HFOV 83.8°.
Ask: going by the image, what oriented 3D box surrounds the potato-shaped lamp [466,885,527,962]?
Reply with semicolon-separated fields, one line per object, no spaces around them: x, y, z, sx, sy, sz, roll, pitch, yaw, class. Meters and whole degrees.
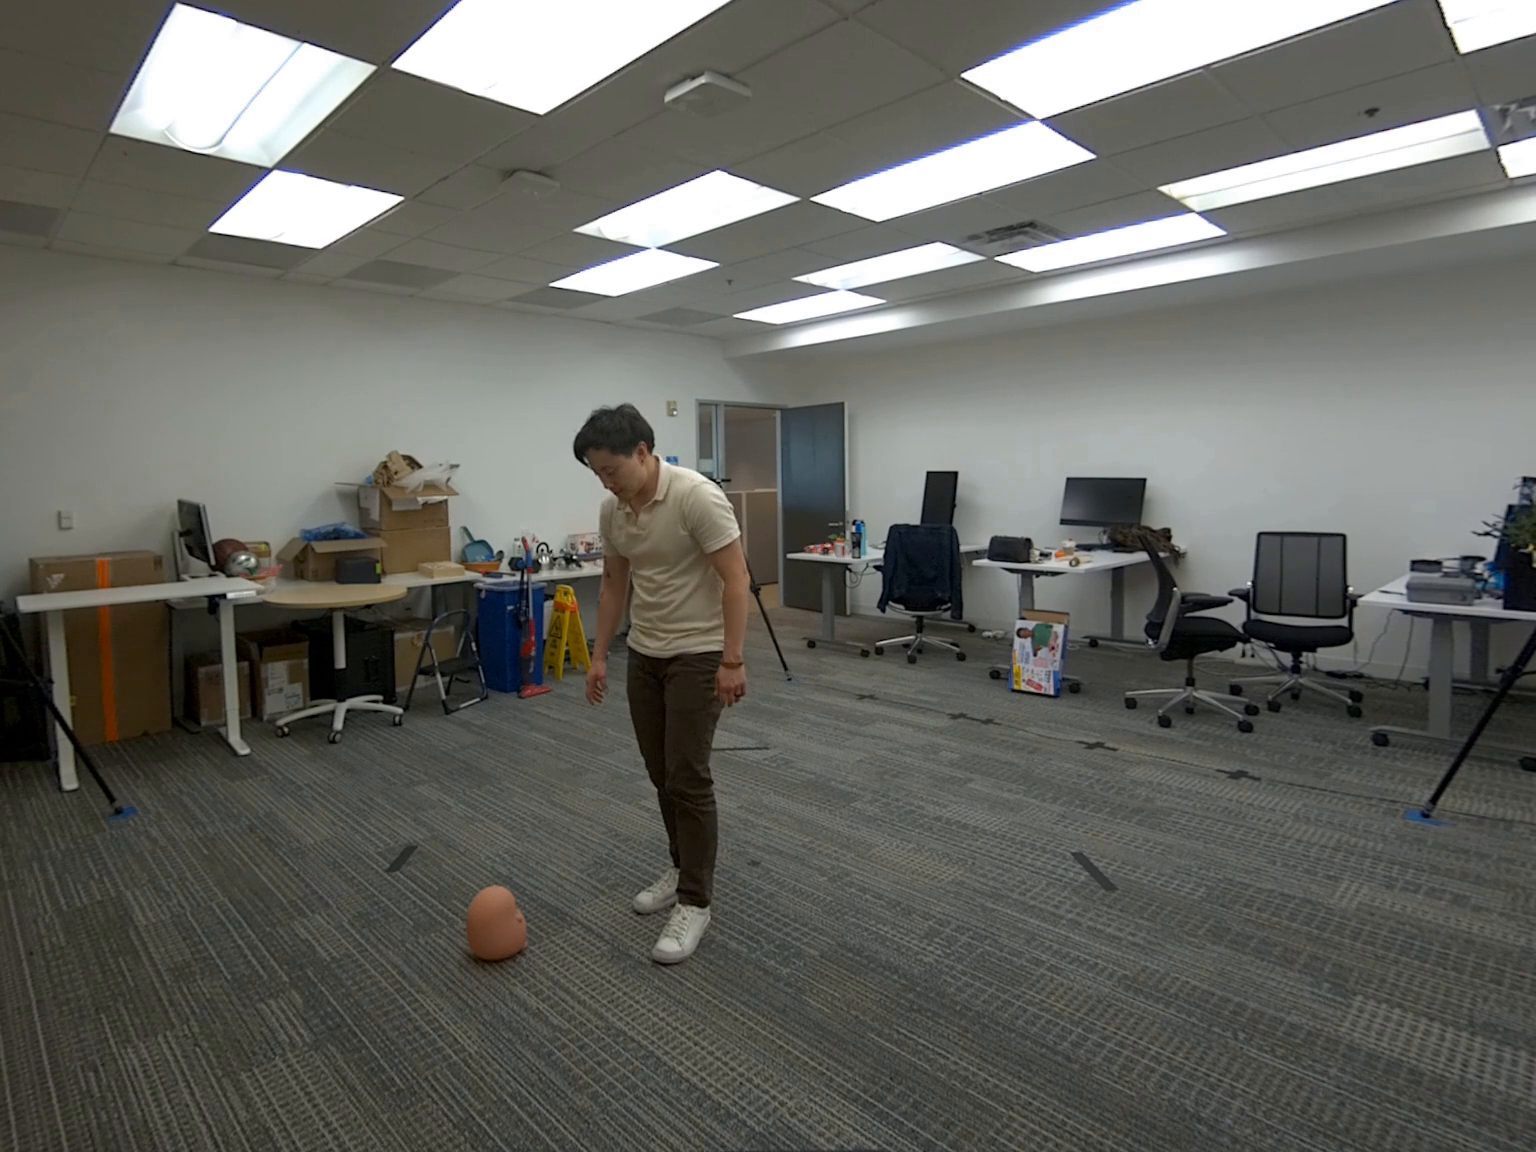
-0.804;1.023;2.545;0.167;0.197;0.170;-6;10;-42;potato-shaped lamp
